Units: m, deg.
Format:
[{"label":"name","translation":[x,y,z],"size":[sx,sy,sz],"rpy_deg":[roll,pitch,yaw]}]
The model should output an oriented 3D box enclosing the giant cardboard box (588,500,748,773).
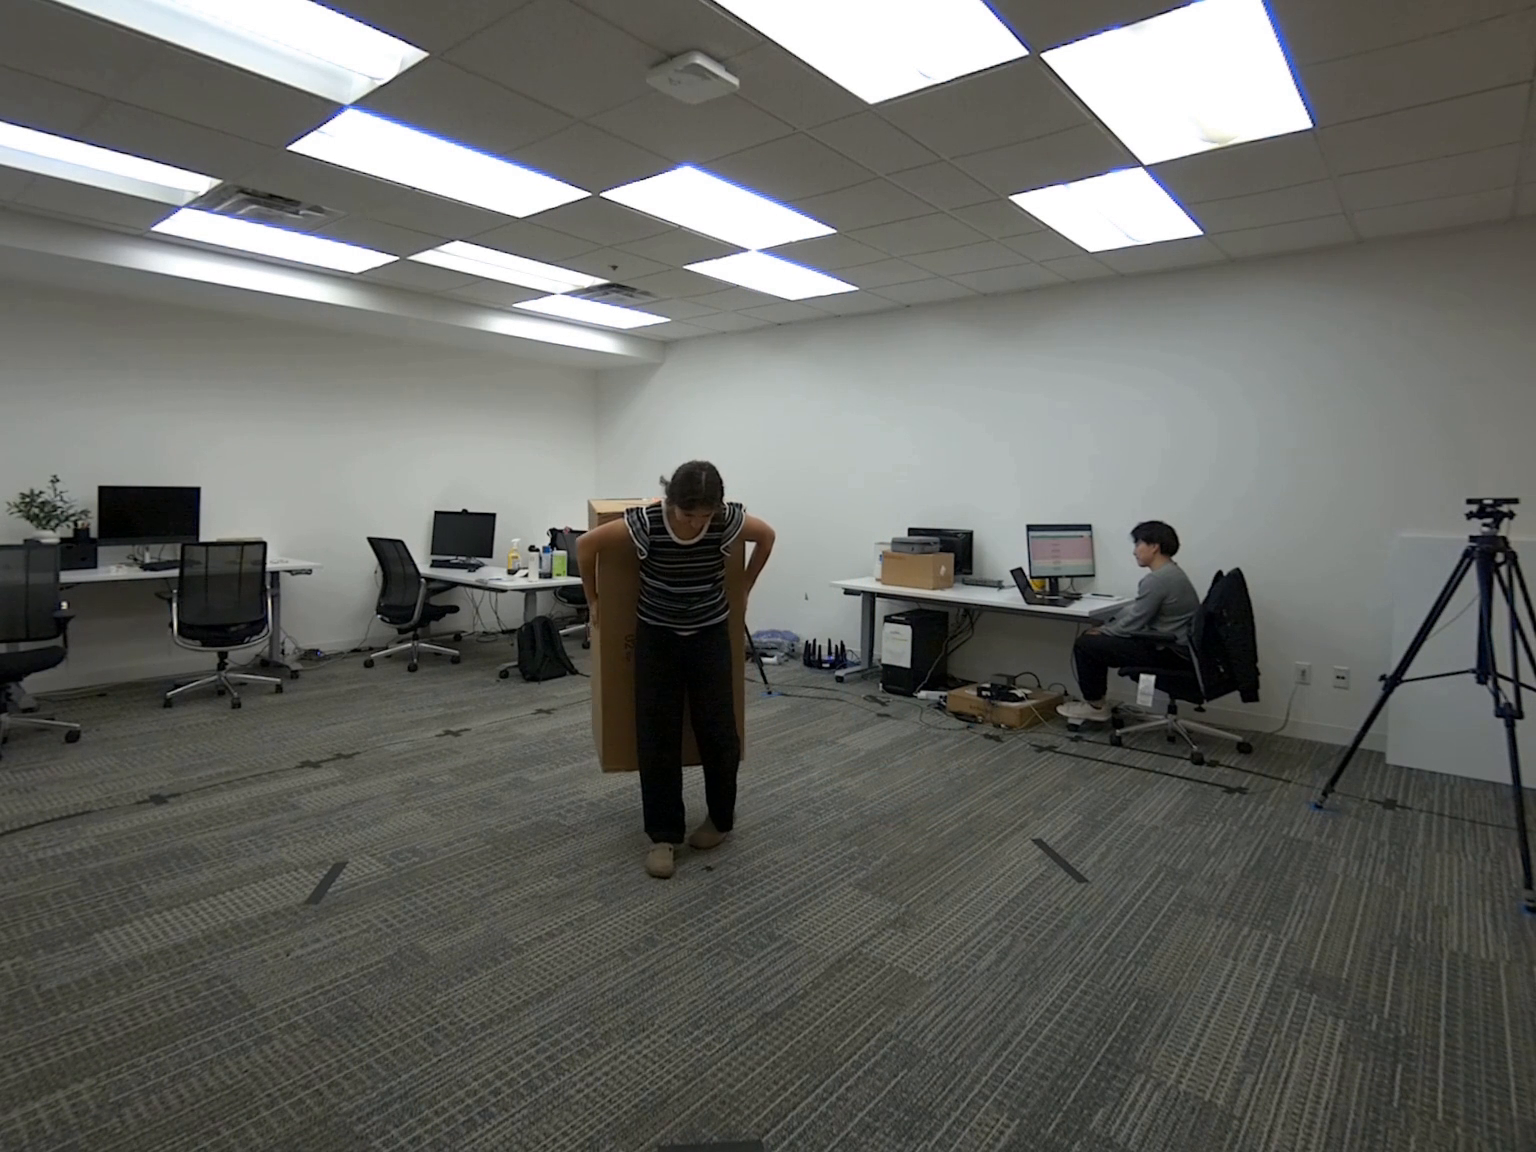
[{"label":"giant cardboard box","translation":[-0.427,0.215,3.478],"size":[0.569,1.016,0.436],"rpy_deg":[-2,10,-15]}]
